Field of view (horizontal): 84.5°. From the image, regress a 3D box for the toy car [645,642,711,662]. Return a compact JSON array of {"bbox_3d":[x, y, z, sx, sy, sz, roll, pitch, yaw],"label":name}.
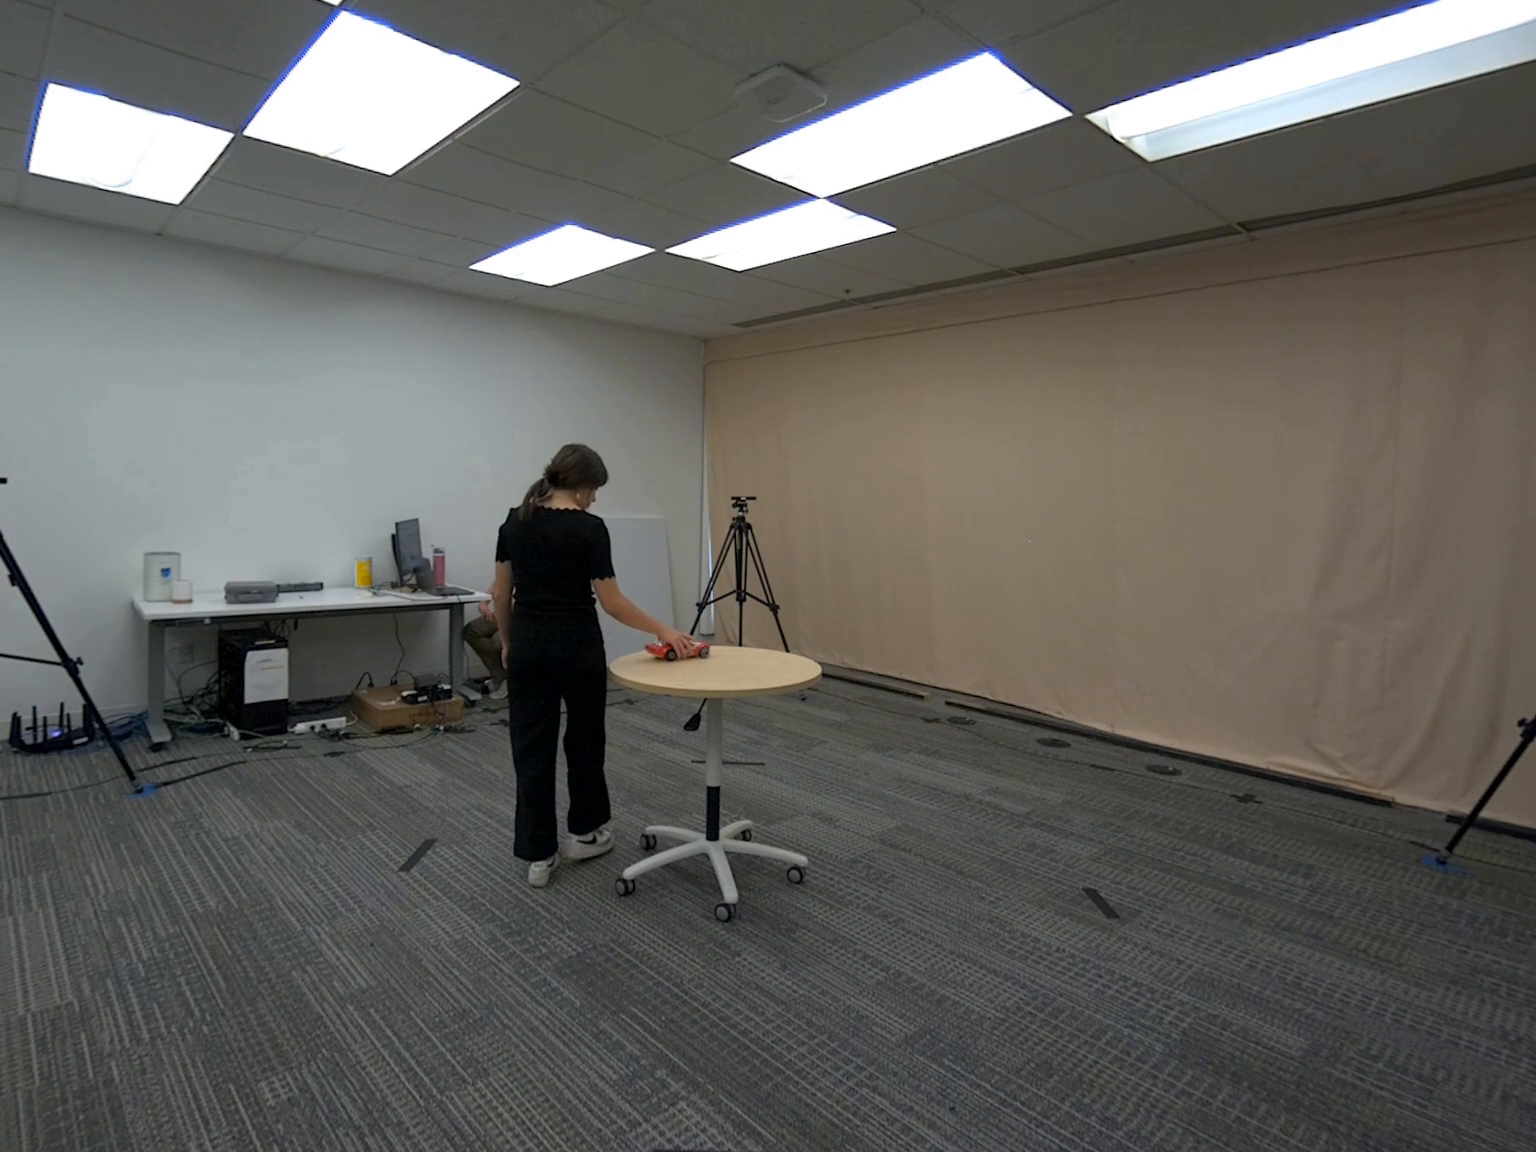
[{"bbox_3d":[-0.359,0.280,3.177,0.248,0.083,0.133,10,-1,-32],"label":"toy car"}]
